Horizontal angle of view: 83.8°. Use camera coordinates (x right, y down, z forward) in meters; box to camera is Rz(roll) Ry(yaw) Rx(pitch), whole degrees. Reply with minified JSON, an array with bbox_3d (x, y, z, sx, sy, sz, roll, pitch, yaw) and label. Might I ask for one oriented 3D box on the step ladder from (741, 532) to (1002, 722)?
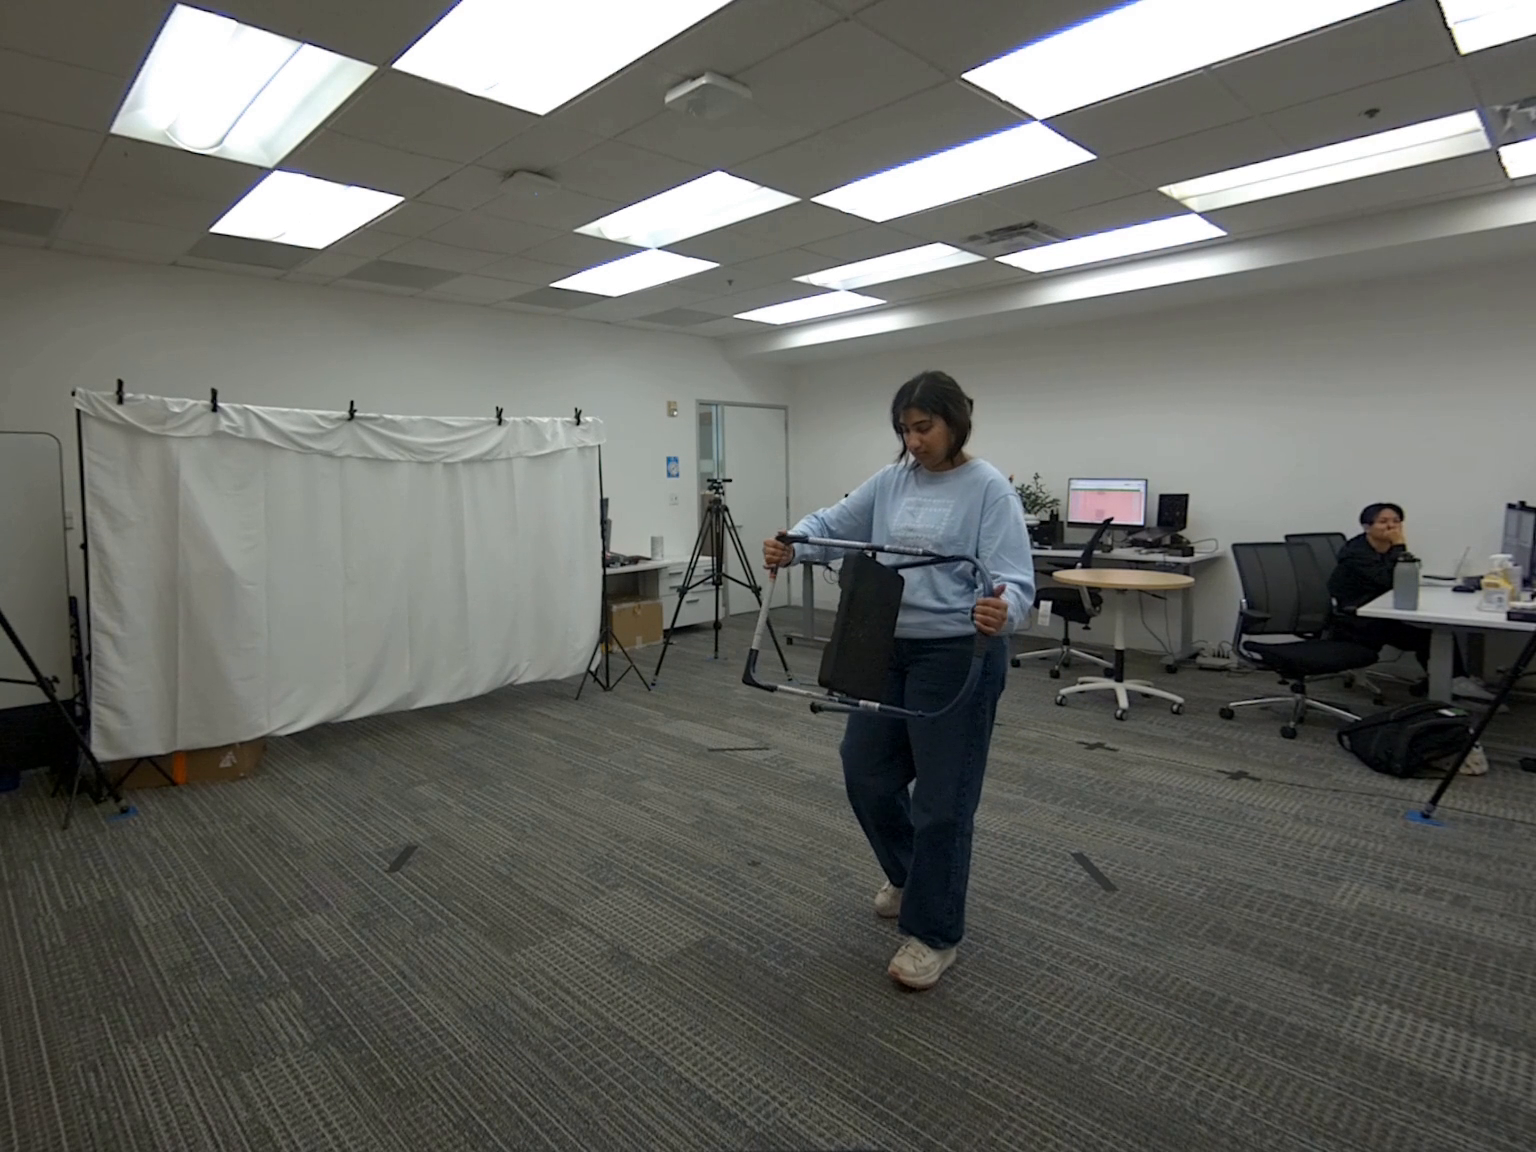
[{"bbox_3d":[0.304,0.142,2.159,0.624,0.434,0.336,1,-17,43],"label":"step ladder"}]
